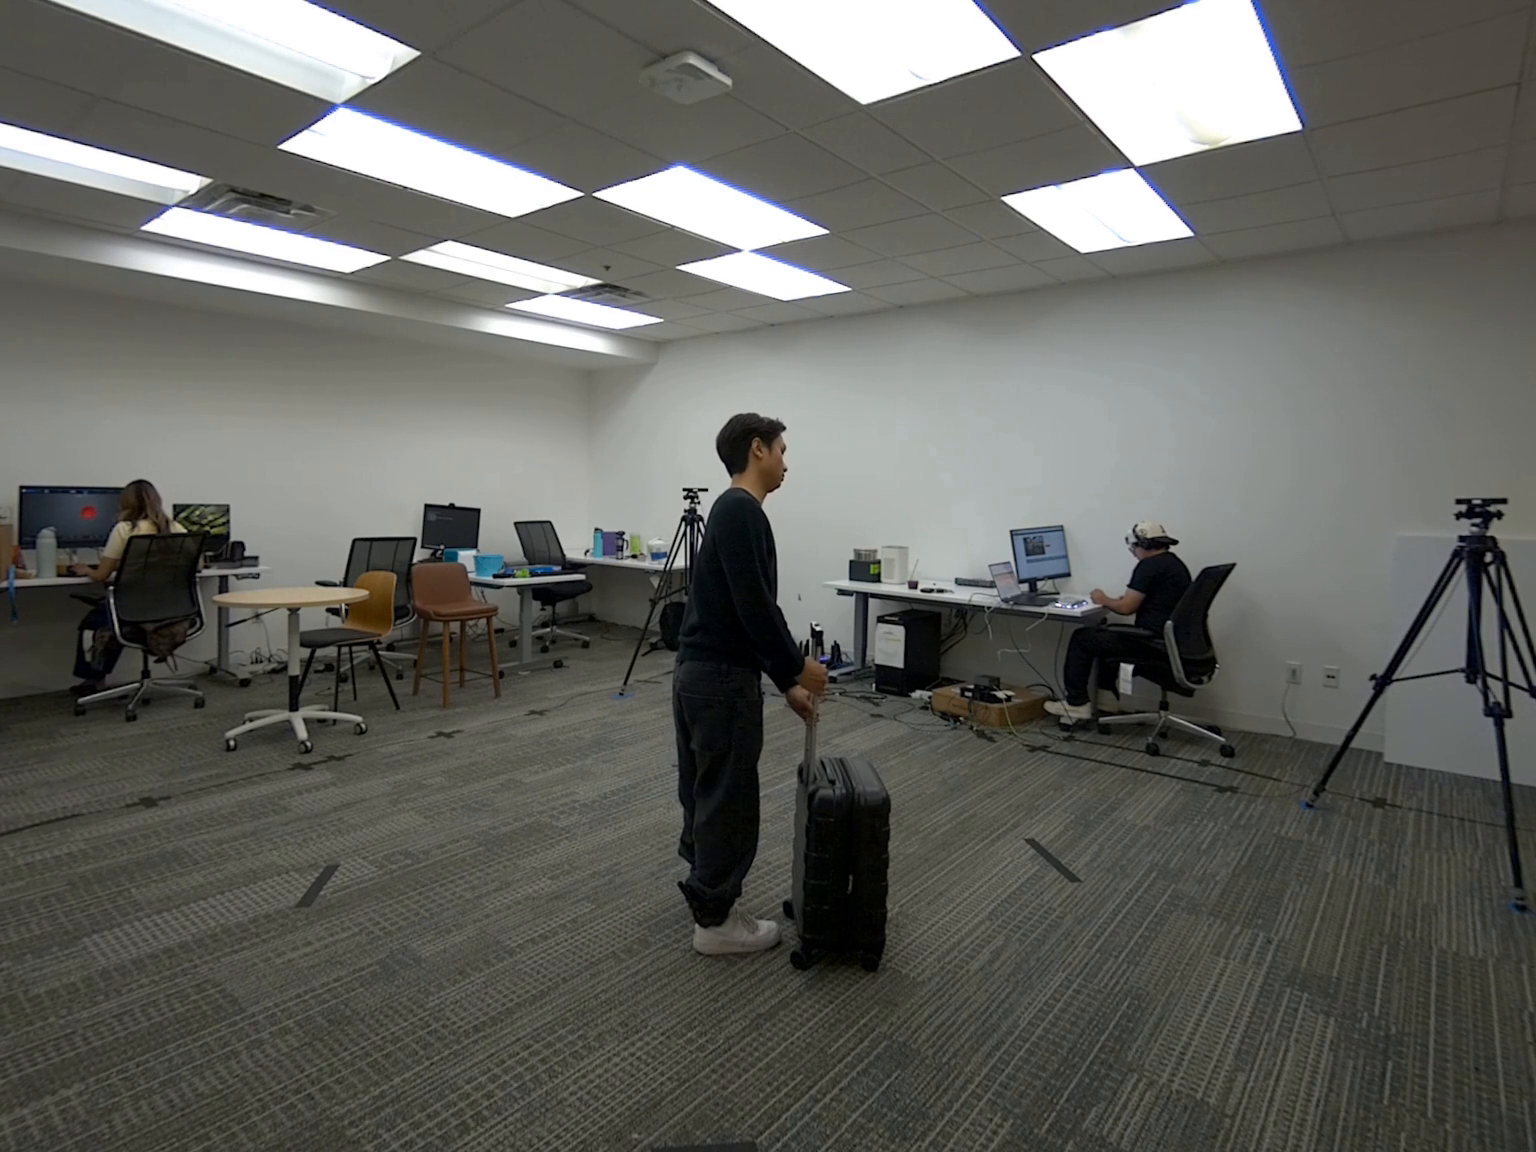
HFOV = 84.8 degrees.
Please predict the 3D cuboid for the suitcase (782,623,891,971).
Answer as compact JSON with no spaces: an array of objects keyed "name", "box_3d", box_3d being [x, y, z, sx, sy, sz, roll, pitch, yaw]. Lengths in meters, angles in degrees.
[{"name":"suitcase","box_3d":[0.220,0.655,2.589,0.256,0.975,0.386,4,4,-3]}]
